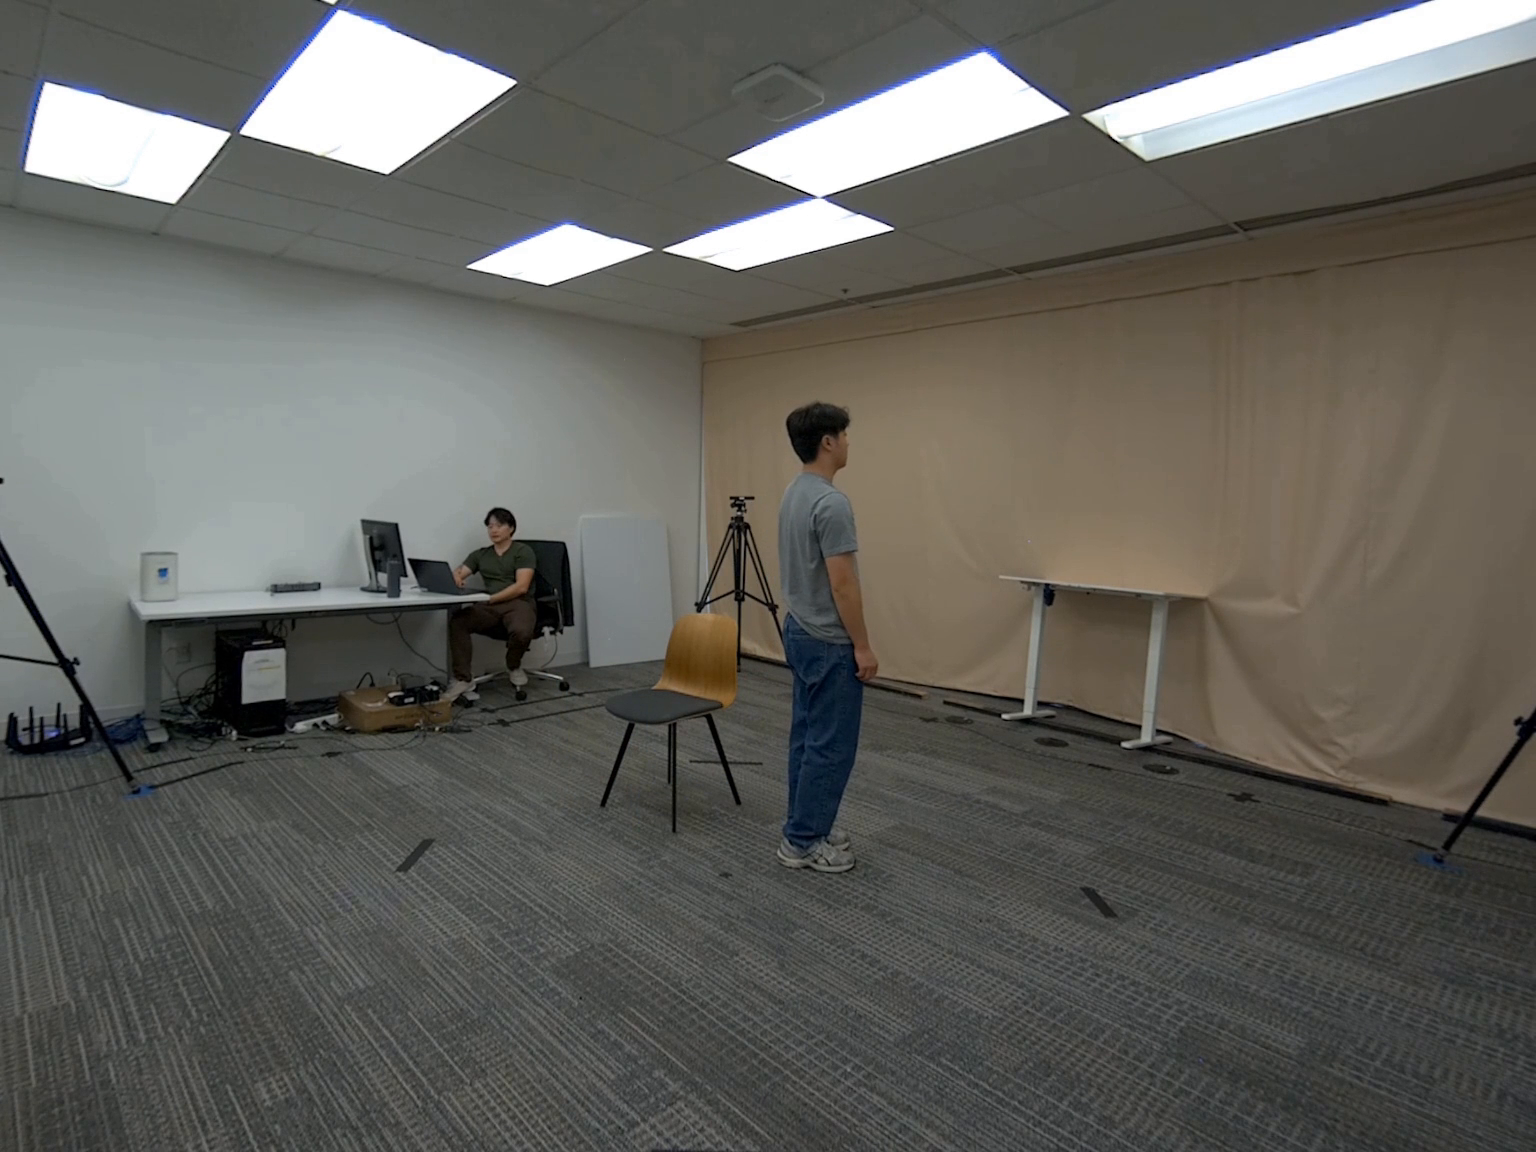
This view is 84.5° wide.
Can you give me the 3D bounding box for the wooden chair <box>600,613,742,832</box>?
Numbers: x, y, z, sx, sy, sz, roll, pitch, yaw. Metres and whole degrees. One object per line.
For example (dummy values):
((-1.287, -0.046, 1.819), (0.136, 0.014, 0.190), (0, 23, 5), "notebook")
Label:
((-0.436, 0.613, 3.764), (0.490, 0.877, 0.510), (4, 0, 38), "wooden chair")
